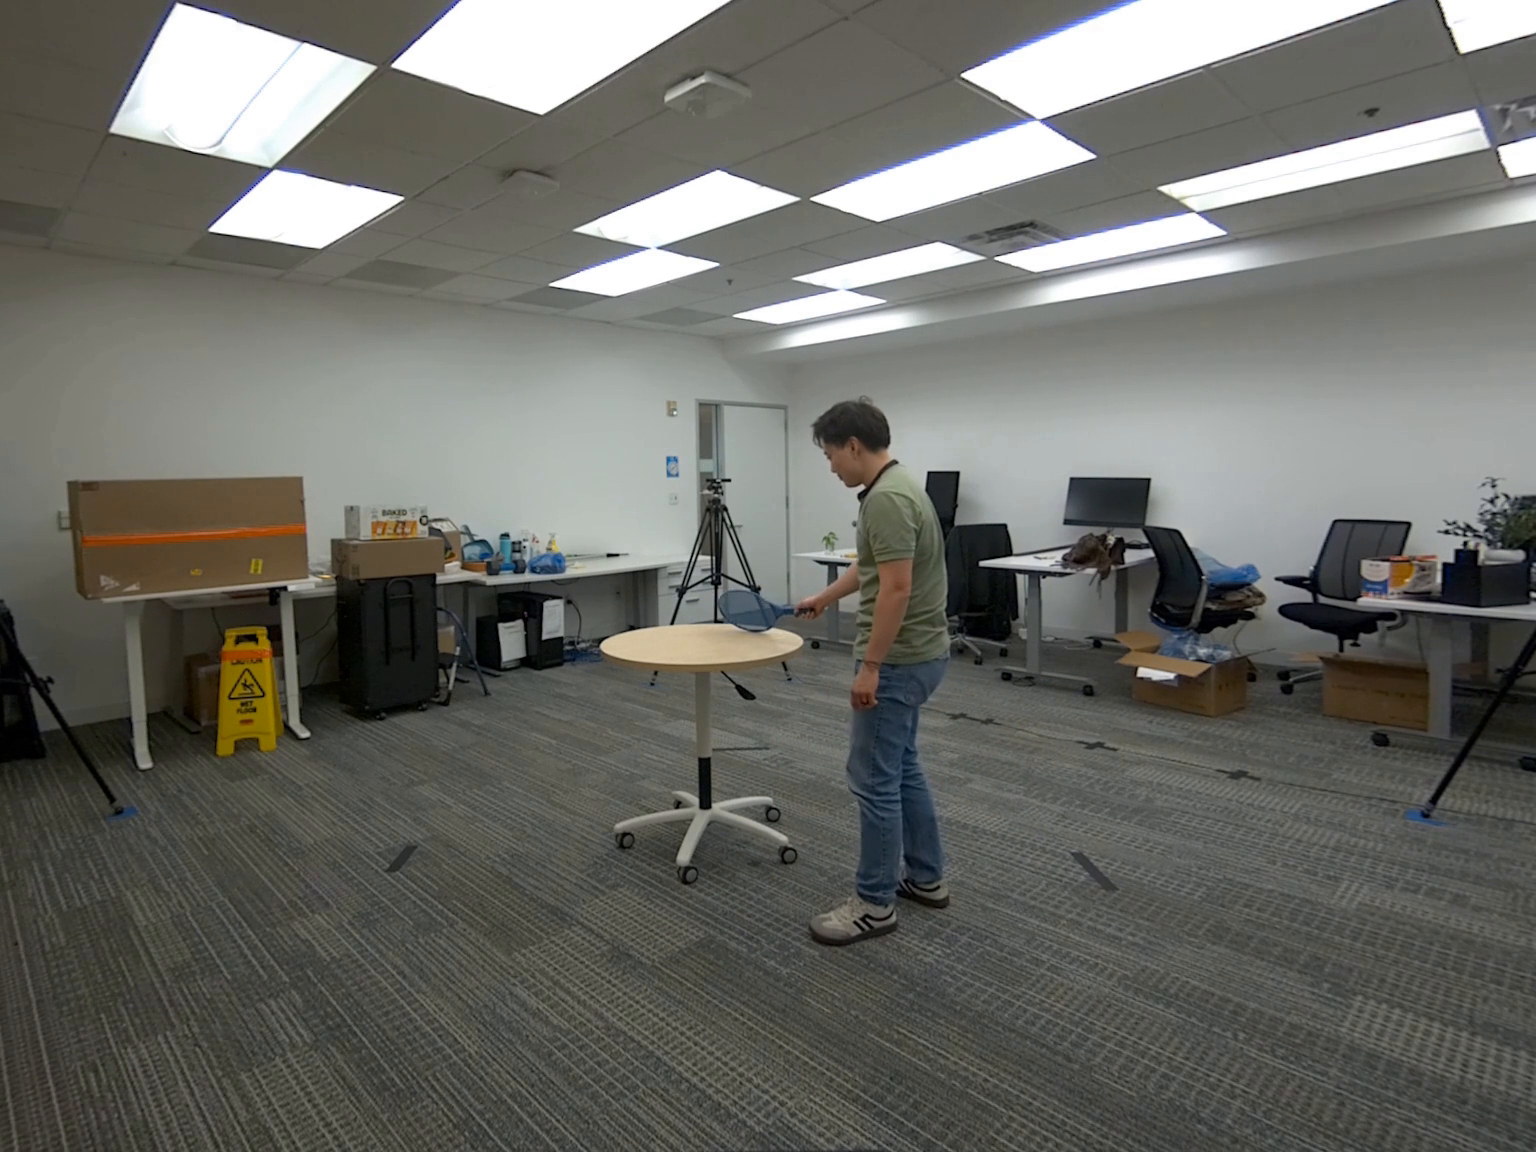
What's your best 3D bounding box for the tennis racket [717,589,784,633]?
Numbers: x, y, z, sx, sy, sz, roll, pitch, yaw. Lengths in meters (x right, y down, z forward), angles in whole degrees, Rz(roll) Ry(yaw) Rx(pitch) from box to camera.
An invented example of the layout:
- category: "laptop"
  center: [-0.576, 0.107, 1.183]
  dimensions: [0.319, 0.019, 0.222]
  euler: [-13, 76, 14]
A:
- category: "tennis racket"
  center: [-0.009, 0.136, 3.313]
  dimensions: [0.444, 0.207, 0.032]
  euler: [-5, 33, 36]
